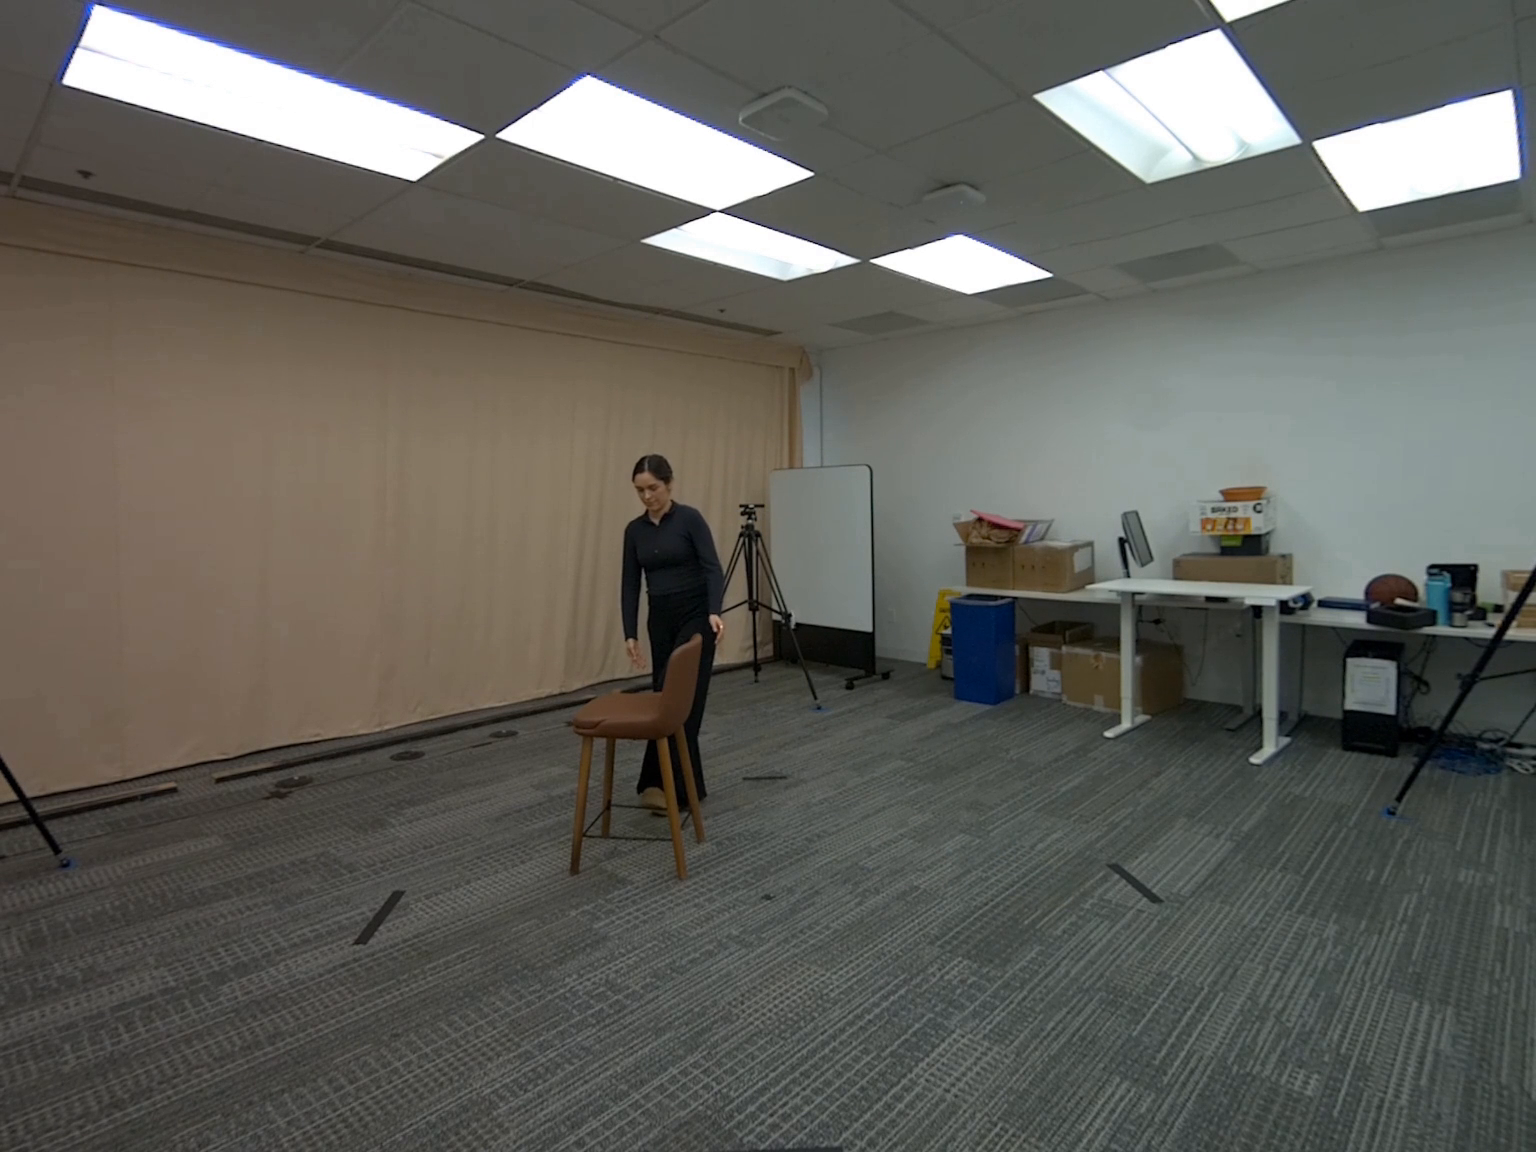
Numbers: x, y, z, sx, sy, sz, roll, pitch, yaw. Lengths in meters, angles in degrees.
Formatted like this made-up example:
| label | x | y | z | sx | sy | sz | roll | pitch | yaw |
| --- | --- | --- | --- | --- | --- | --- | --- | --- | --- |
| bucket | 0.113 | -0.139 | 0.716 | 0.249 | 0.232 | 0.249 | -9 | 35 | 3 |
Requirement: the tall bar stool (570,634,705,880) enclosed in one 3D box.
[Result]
| label | x | y | z | sx | sy | sz | roll | pitch | yaw |
| --- | --- | --- | --- | --- | --- | --- | --- | --- | --- |
| tall bar stool | -0.512 | 0.684 | 3.337 | 0.473 | 0.888 | 0.452 | 1 | 3 | 9 |
